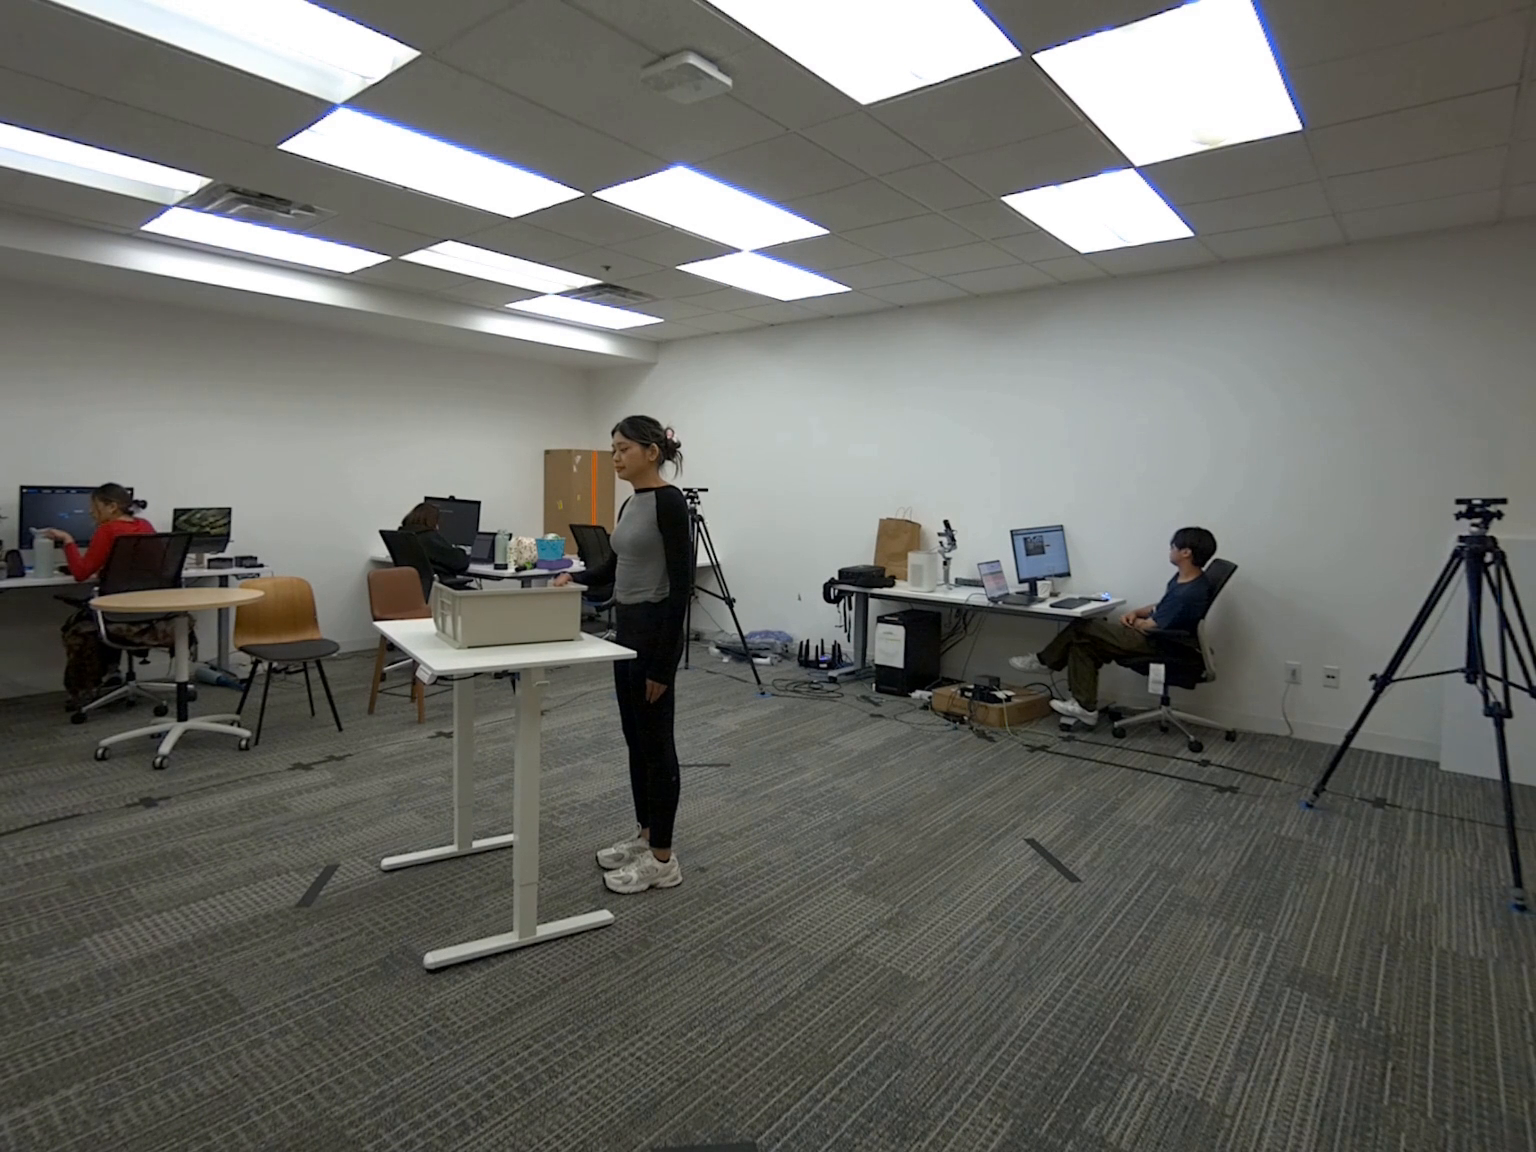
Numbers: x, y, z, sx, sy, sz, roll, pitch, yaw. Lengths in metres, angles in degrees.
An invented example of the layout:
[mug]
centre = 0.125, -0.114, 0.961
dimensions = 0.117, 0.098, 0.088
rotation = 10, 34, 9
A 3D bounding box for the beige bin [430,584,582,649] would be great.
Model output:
[beige bin]
centre = -0.889, 0.117, 2.846
dimensions = 0.410, 0.188, 0.390
rotation = -1, 6, -33
